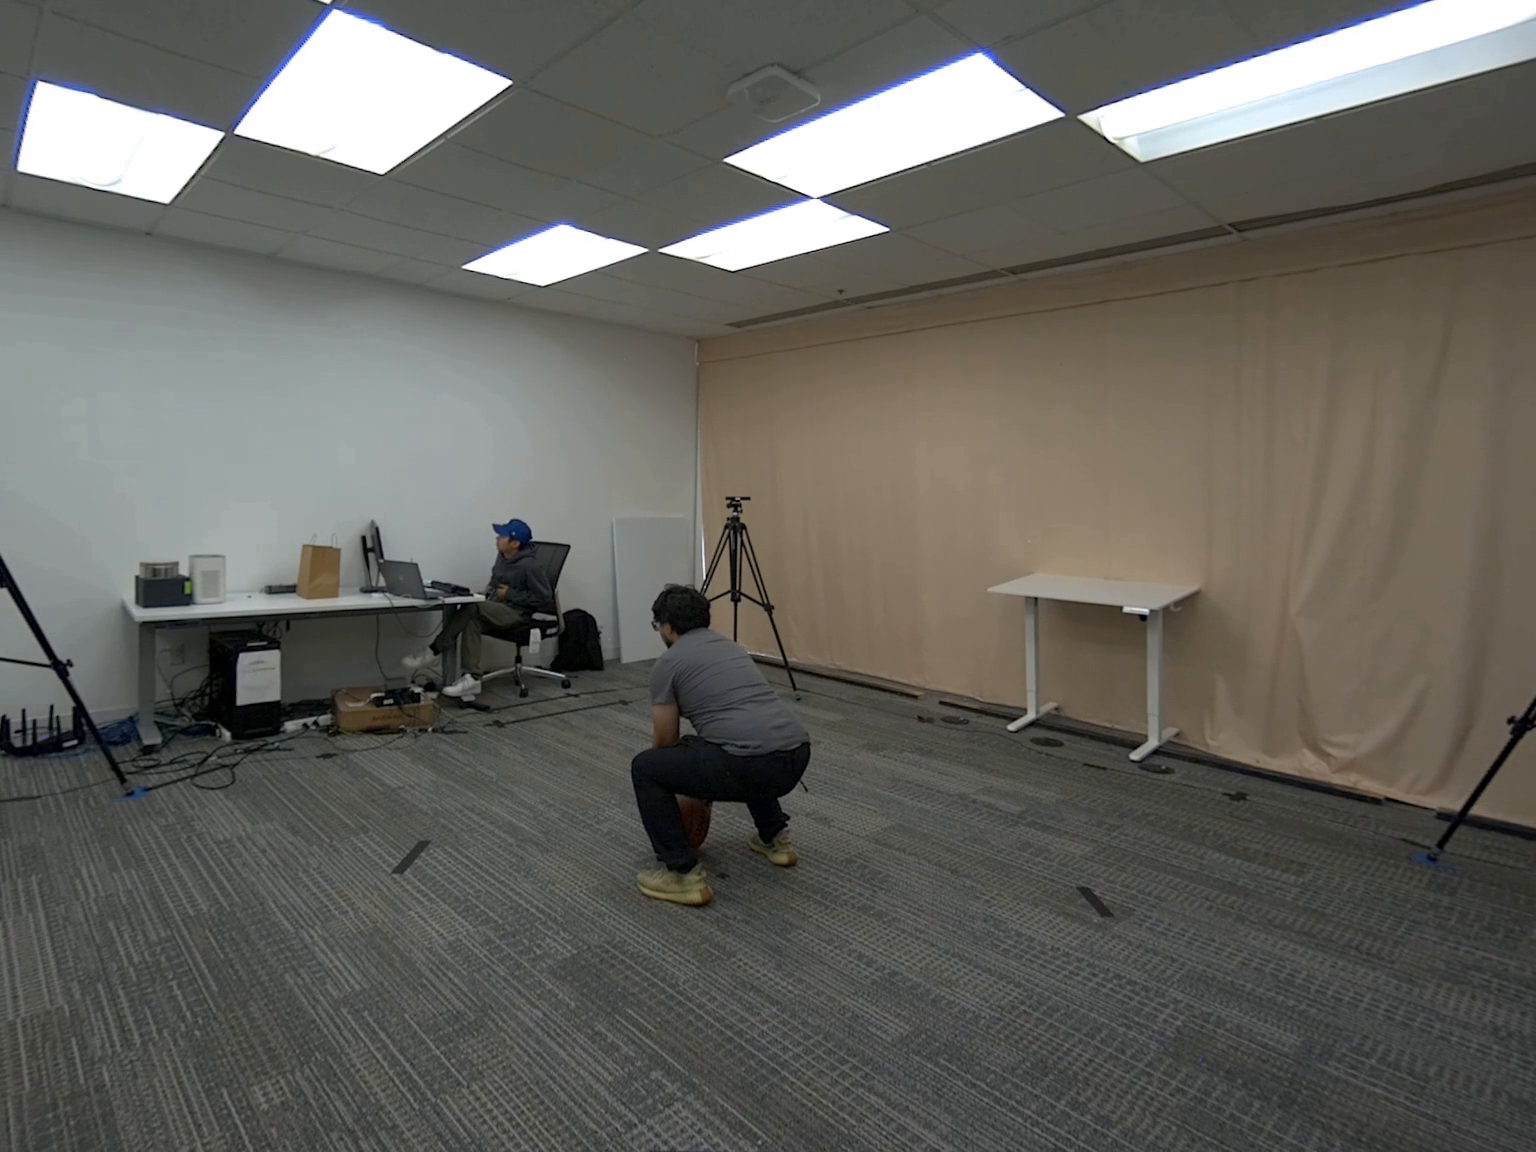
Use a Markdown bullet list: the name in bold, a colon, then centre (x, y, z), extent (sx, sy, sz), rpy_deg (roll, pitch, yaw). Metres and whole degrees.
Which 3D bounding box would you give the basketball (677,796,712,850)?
- **basketball**: centre (-0.352, 0.957, 3.289), extent (0.236, 0.235, 0.237), rpy_deg (1, 4, -1)
